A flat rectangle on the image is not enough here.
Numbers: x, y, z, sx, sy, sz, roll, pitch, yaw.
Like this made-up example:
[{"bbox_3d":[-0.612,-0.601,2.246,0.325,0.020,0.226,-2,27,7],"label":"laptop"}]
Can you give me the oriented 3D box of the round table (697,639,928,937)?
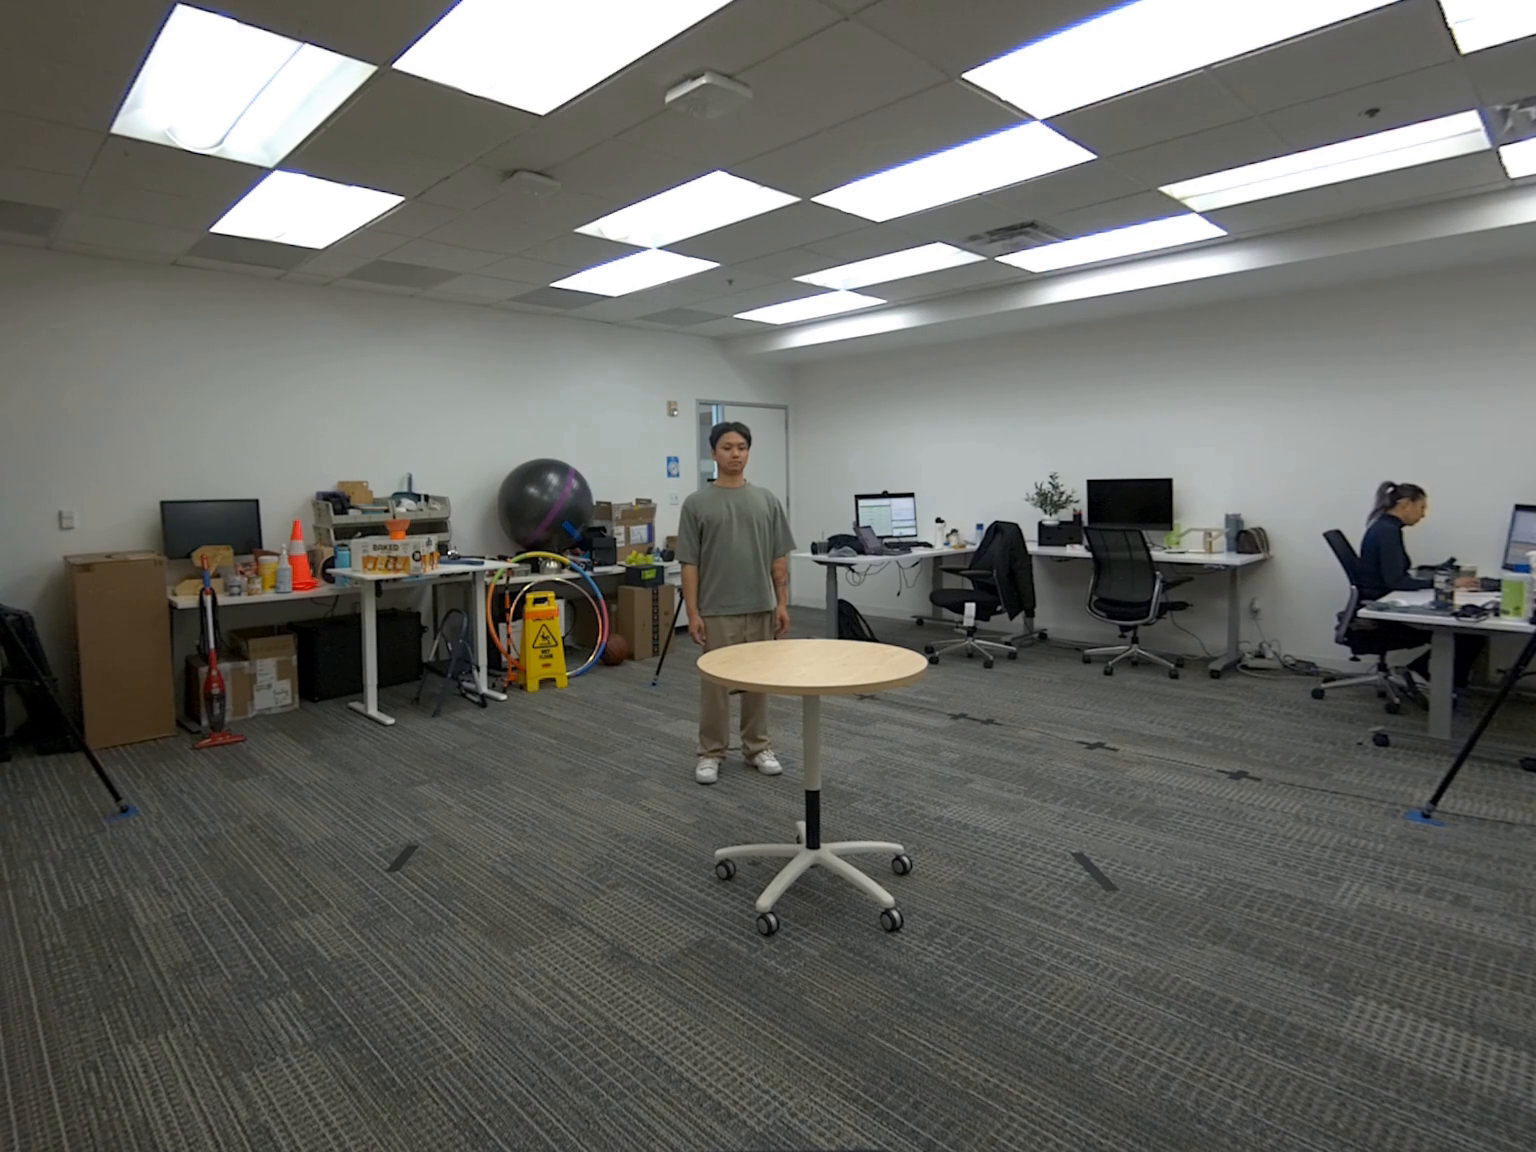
[{"bbox_3d":[0.143,0.673,2.899,0.784,0.784,0.789,-1,4,-2],"label":"round table"}]
